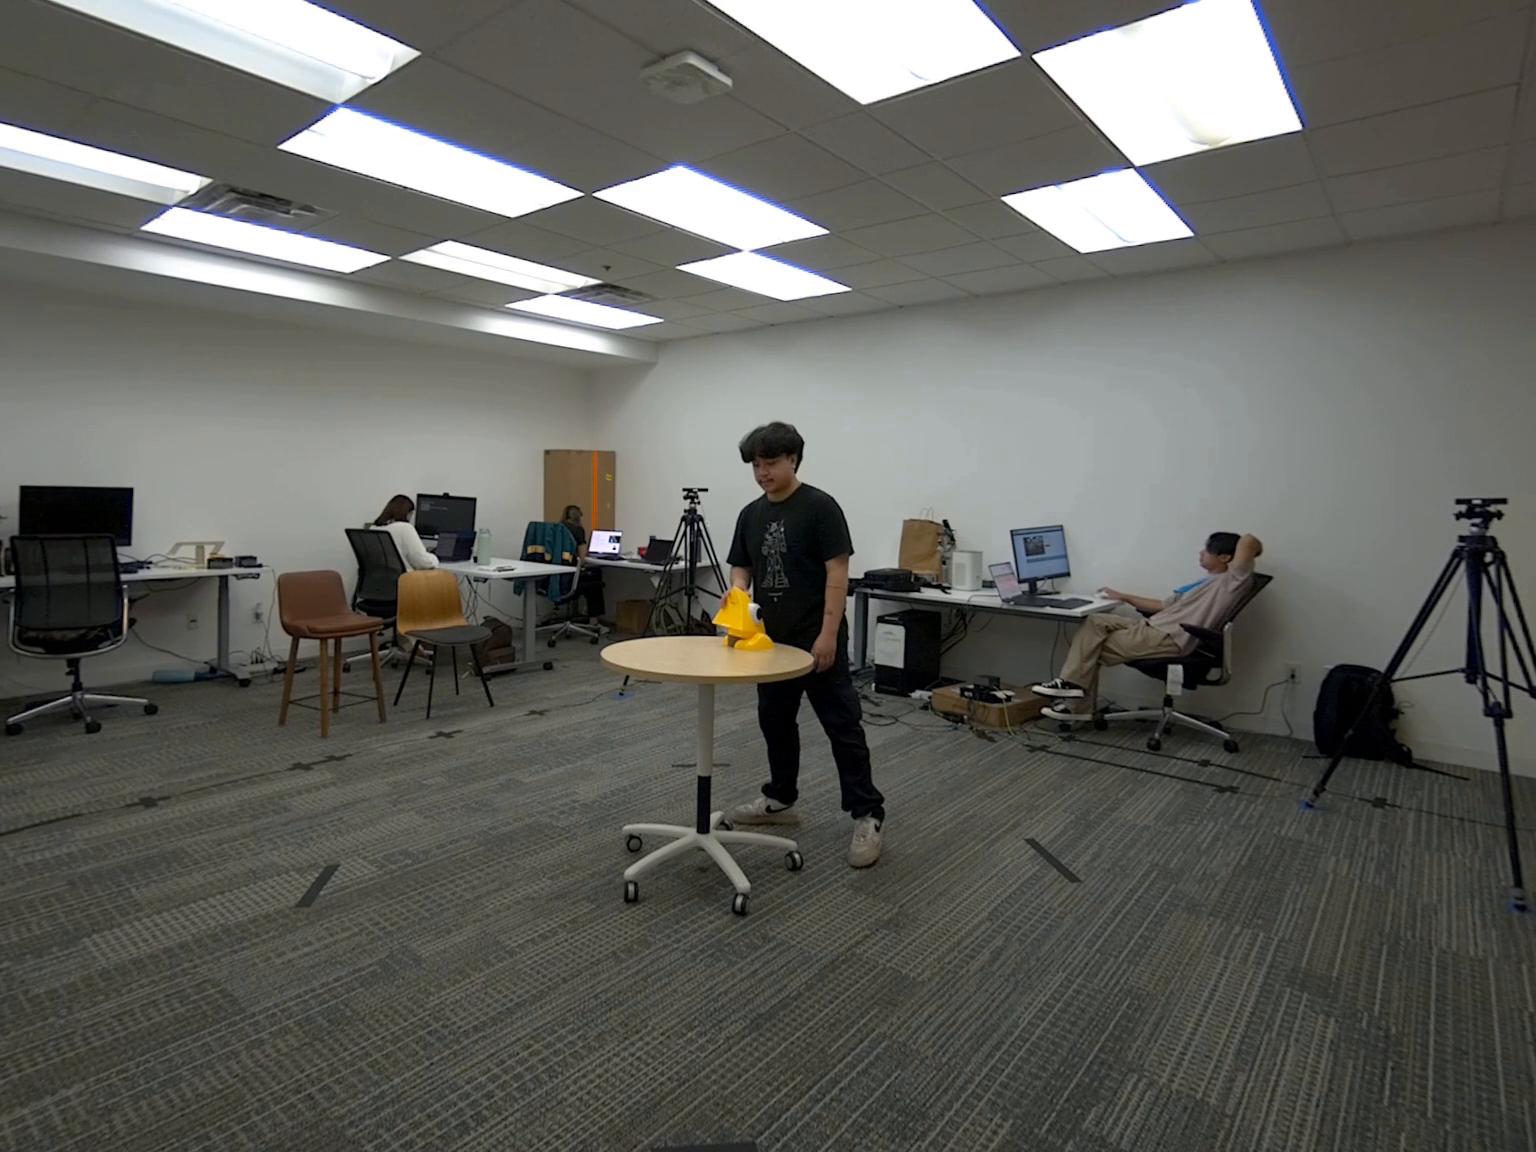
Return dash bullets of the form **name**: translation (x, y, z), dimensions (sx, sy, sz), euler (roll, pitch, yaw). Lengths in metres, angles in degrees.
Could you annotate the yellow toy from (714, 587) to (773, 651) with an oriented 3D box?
- **yellow toy**: translation (-0.092, 0.150, 3.271), dimensions (0.187, 0.230, 0.211), euler (0, 3, -34)
